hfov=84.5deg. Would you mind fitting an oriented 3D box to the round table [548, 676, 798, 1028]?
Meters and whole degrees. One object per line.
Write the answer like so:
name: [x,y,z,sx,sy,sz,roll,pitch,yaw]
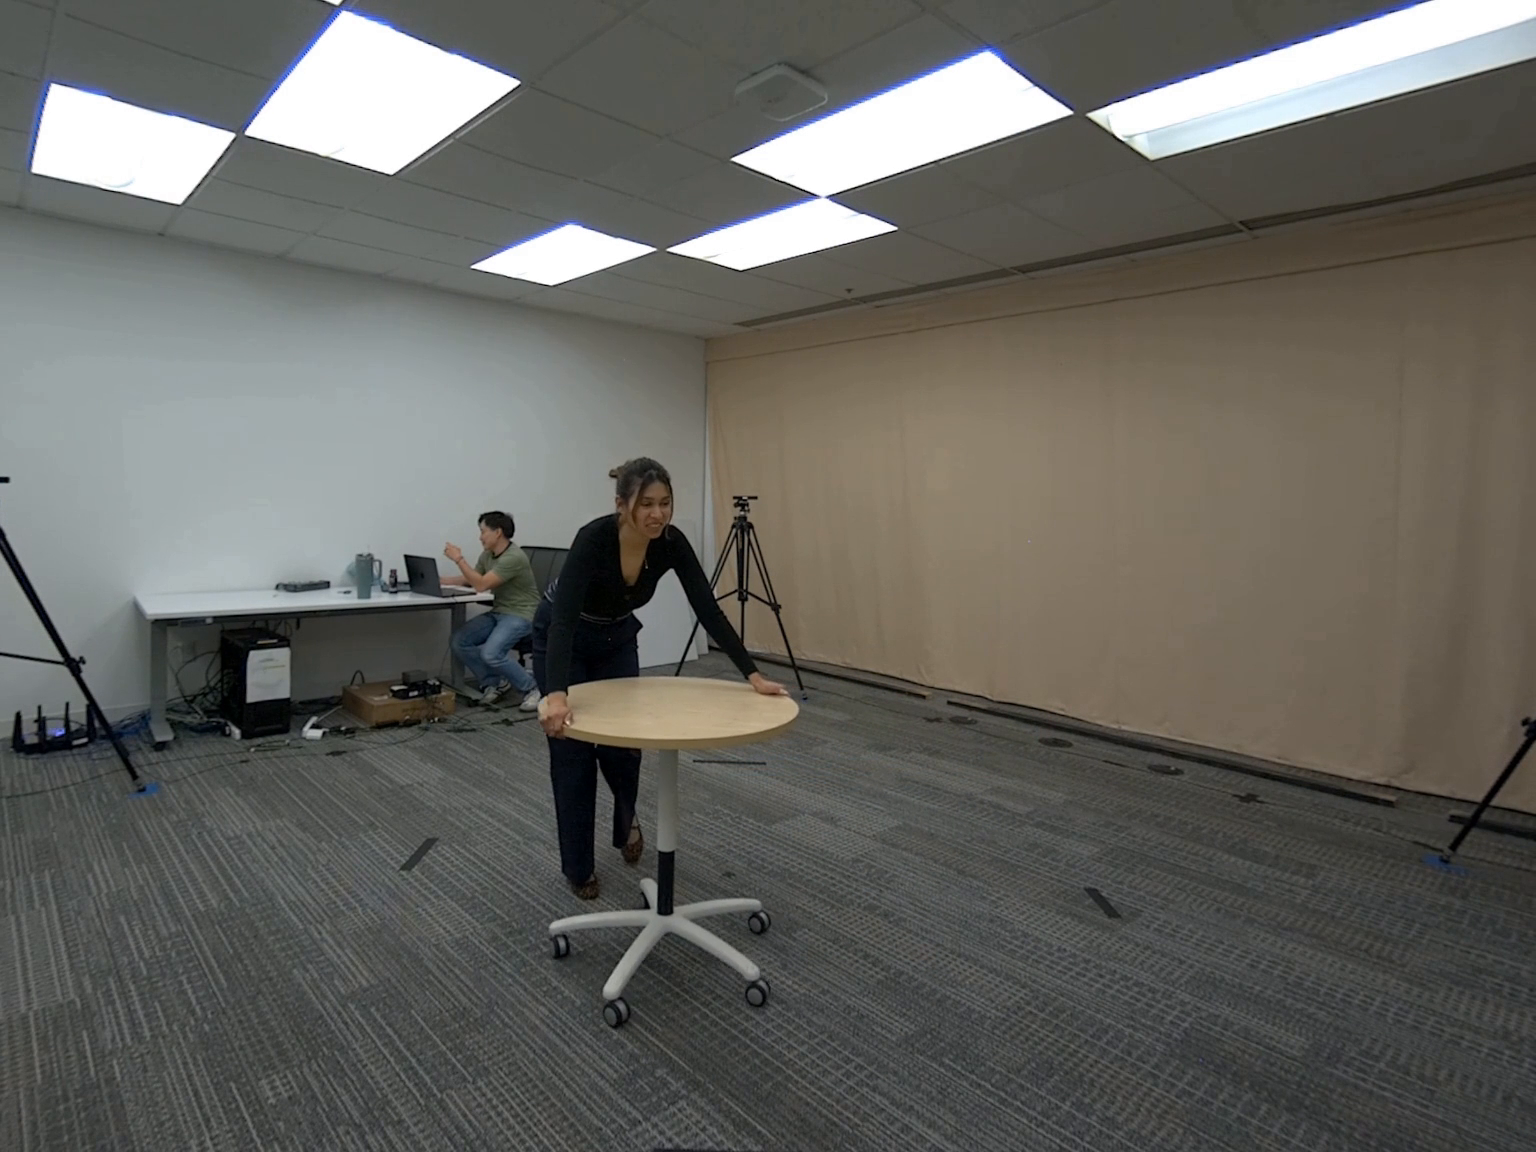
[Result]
round table: [-0.296,0.770,2.510,0.763,0.792,0.766,1,4,-1]
